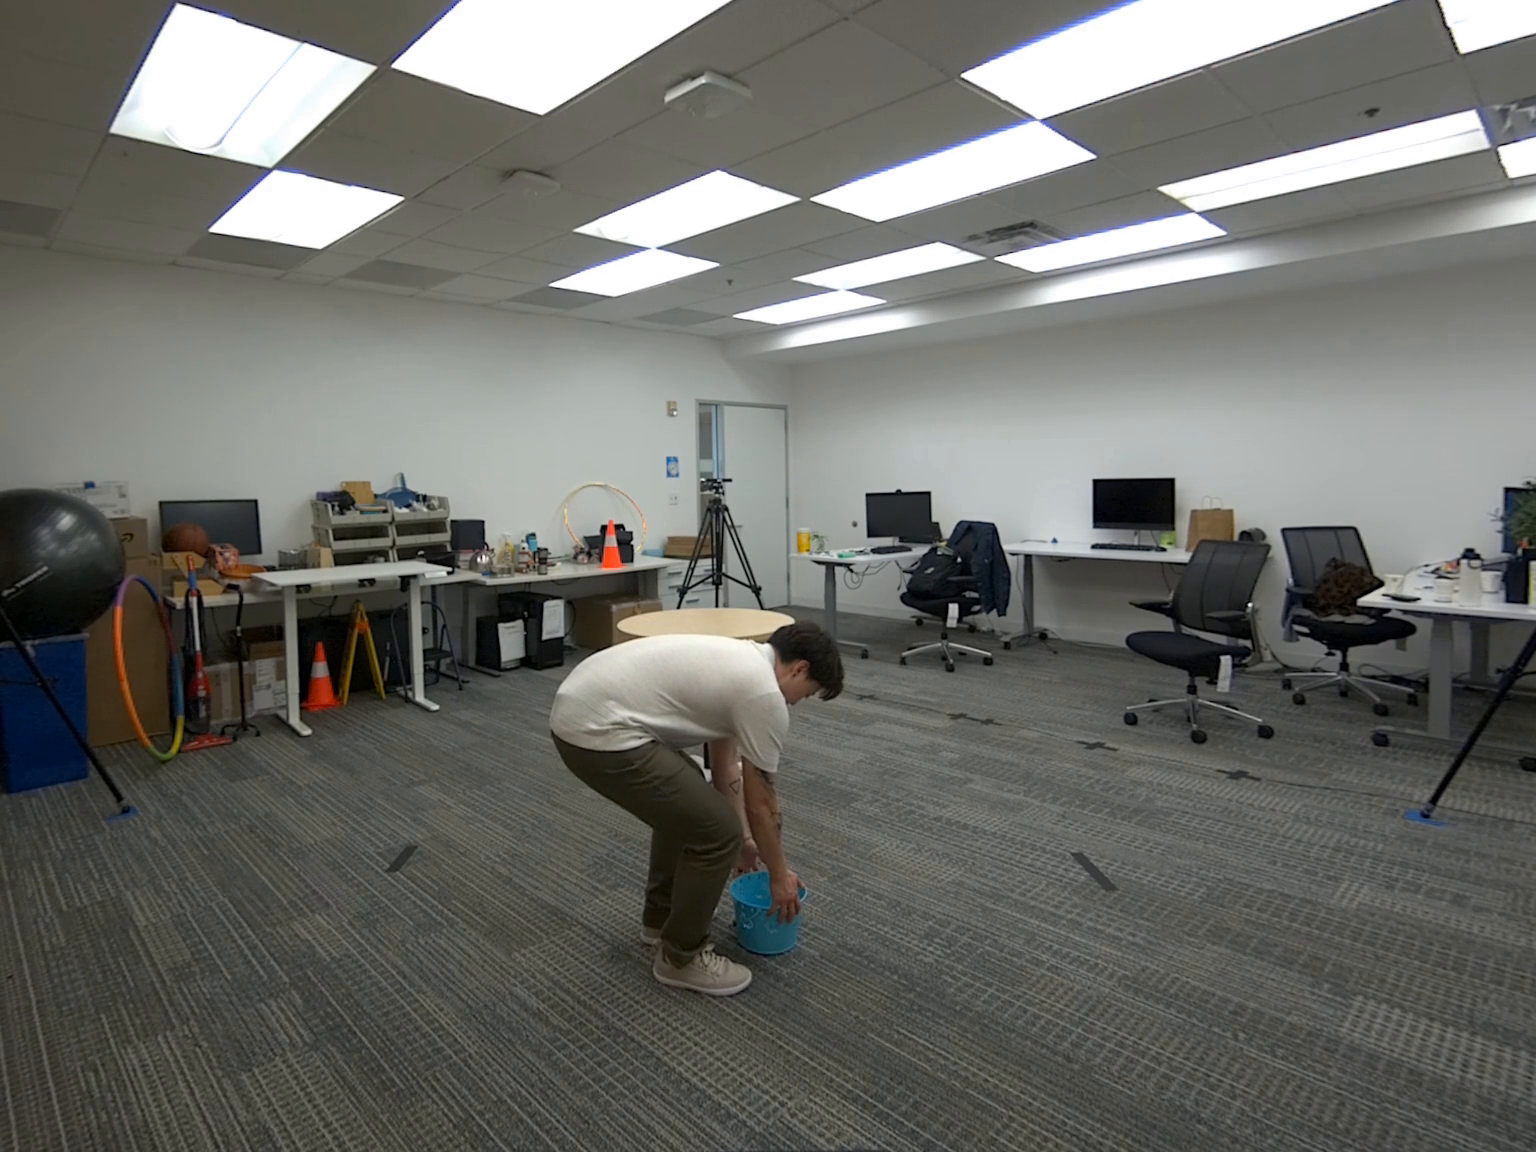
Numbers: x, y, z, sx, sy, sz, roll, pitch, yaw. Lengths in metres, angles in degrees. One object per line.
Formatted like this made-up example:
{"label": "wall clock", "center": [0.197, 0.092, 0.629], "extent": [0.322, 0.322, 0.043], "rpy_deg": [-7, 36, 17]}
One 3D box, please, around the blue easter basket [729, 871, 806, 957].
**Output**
{"label": "blue easter basket", "center": [0.000, 1.011, 2.587], "extent": [0.243, 0.155, 0.245], "rpy_deg": [1, 7, -2]}
